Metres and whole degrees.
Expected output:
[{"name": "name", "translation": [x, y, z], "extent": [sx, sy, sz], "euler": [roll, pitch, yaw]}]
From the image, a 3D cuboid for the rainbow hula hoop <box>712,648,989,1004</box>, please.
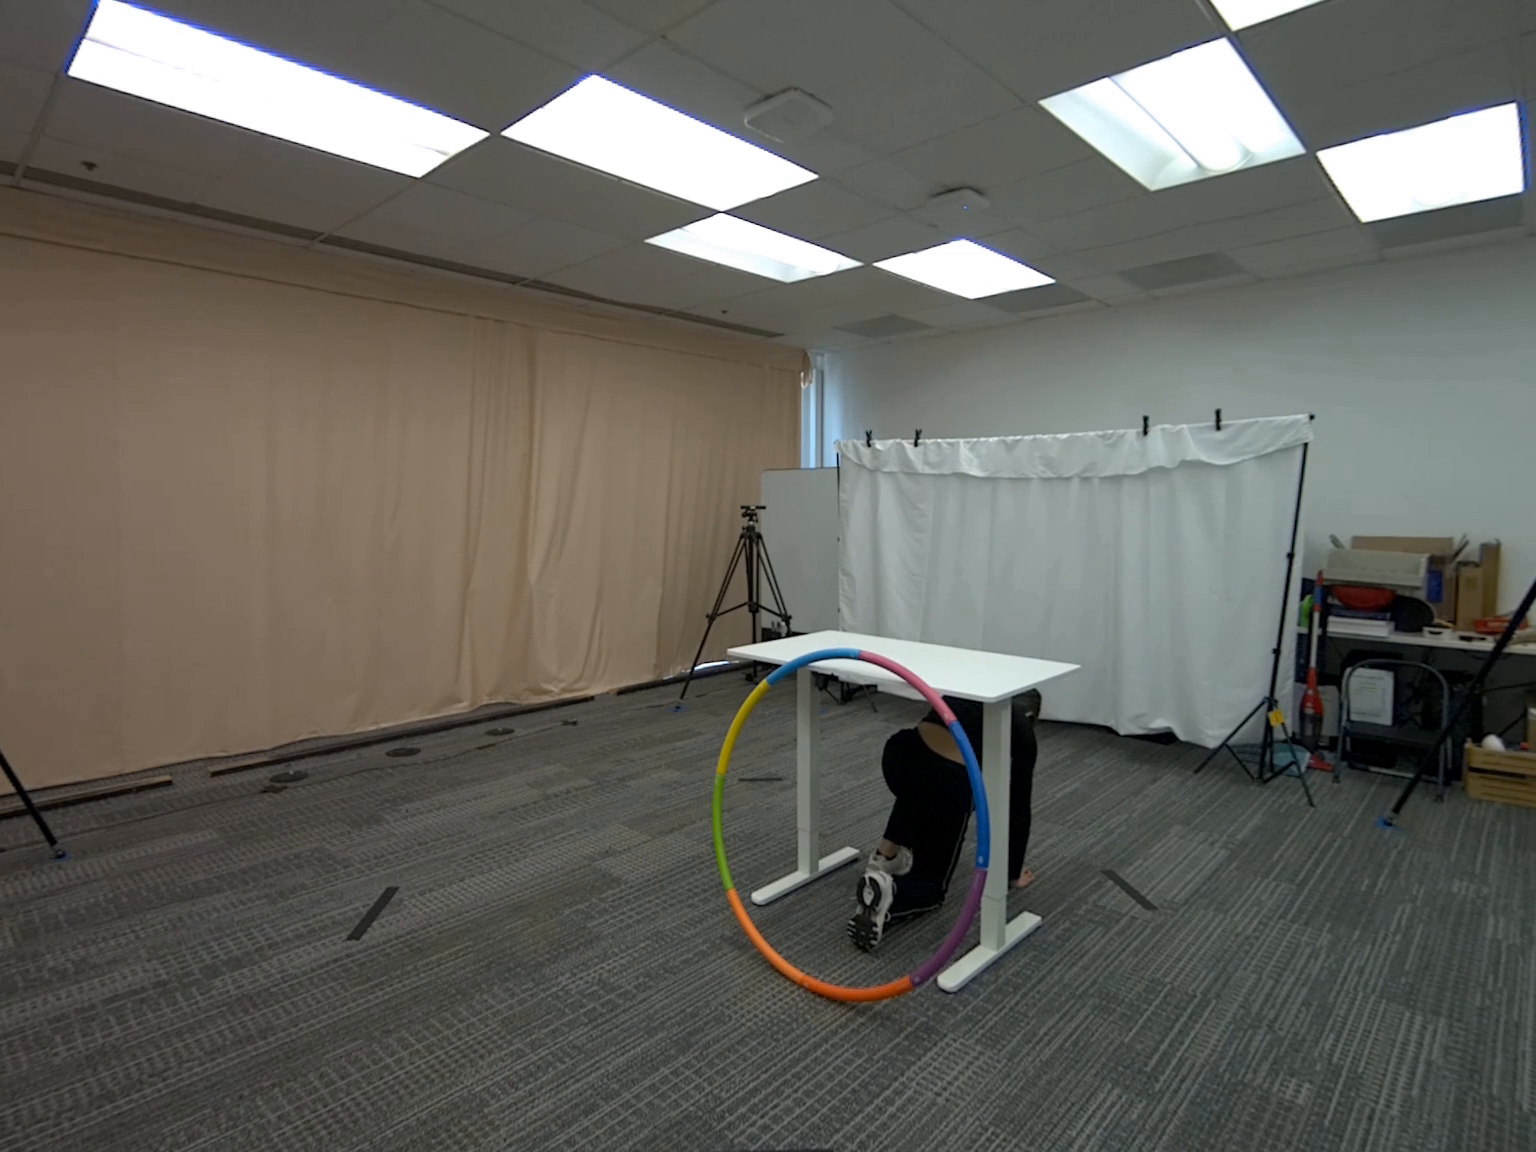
[{"name": "rainbow hula hoop", "translation": [0.196, 0.710, 2.497], "extent": [1.011, 0.982, 0.034], "euler": [4, -10, 43]}]
